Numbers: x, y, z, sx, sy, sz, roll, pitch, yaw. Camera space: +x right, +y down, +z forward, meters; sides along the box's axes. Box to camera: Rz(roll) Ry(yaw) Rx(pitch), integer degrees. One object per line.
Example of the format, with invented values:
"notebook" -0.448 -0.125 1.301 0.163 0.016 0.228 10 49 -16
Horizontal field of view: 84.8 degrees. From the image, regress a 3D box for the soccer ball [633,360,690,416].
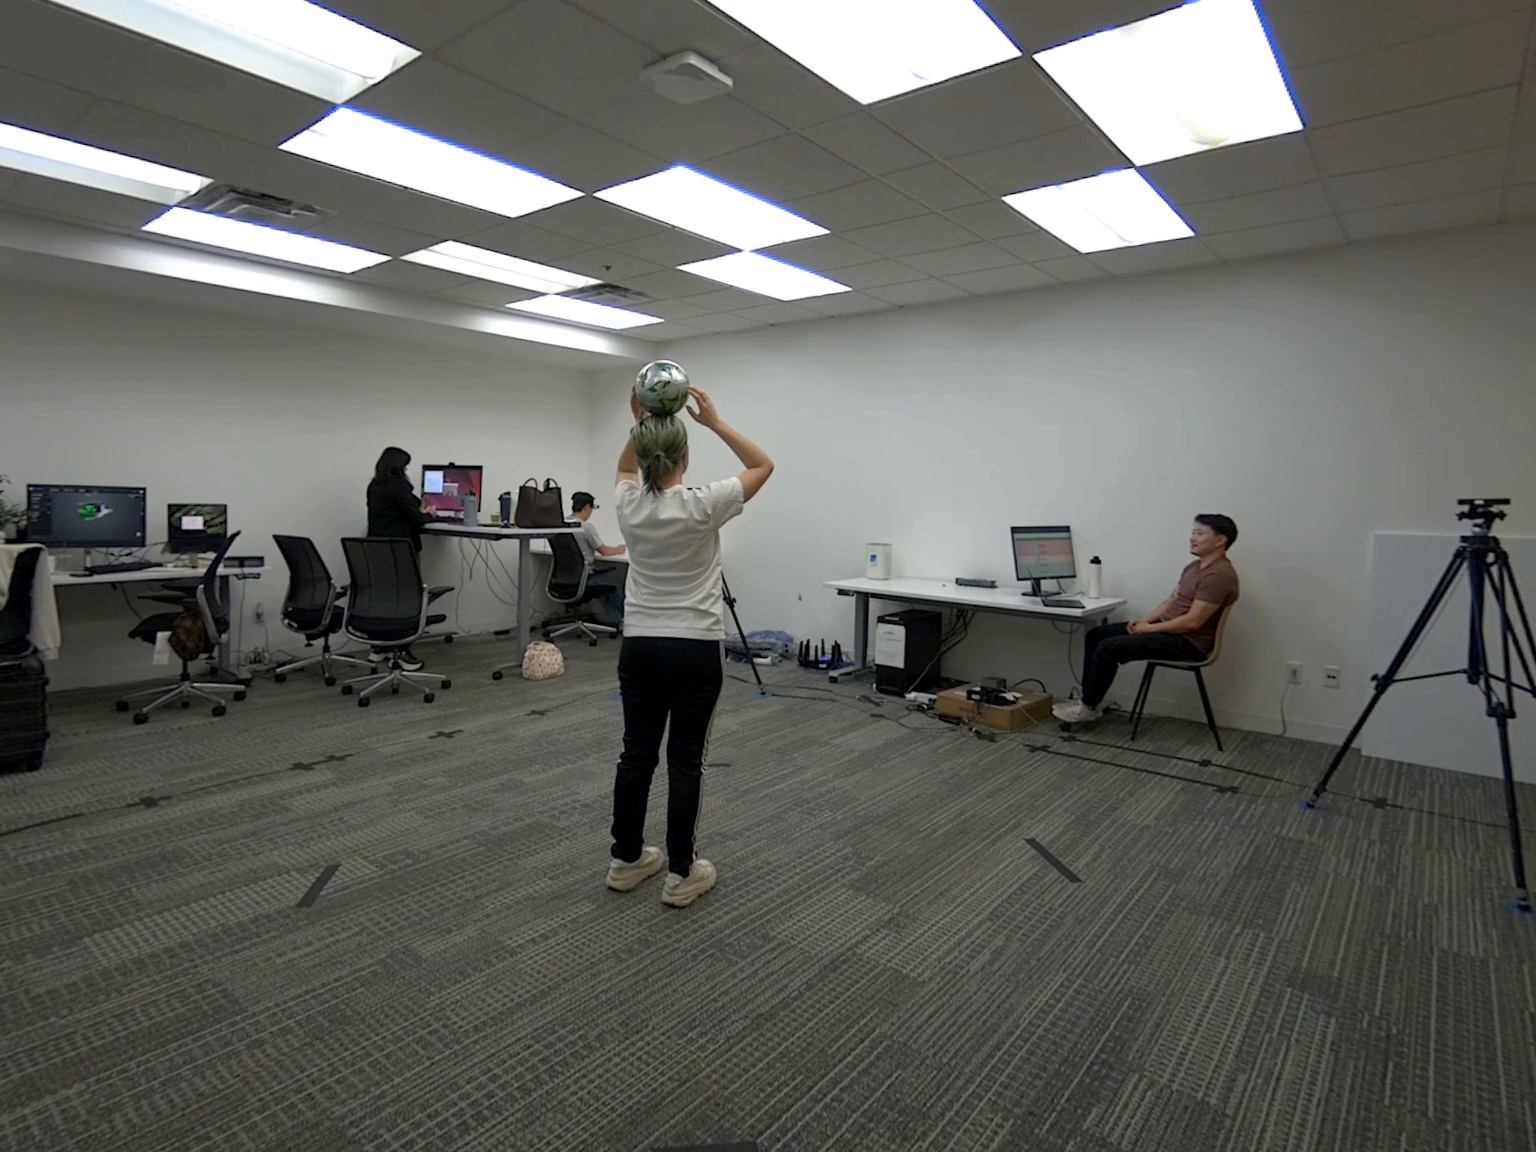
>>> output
"soccer ball" -0.373 -0.640 2.883 0.187 0.187 0.188 1 4 -2
